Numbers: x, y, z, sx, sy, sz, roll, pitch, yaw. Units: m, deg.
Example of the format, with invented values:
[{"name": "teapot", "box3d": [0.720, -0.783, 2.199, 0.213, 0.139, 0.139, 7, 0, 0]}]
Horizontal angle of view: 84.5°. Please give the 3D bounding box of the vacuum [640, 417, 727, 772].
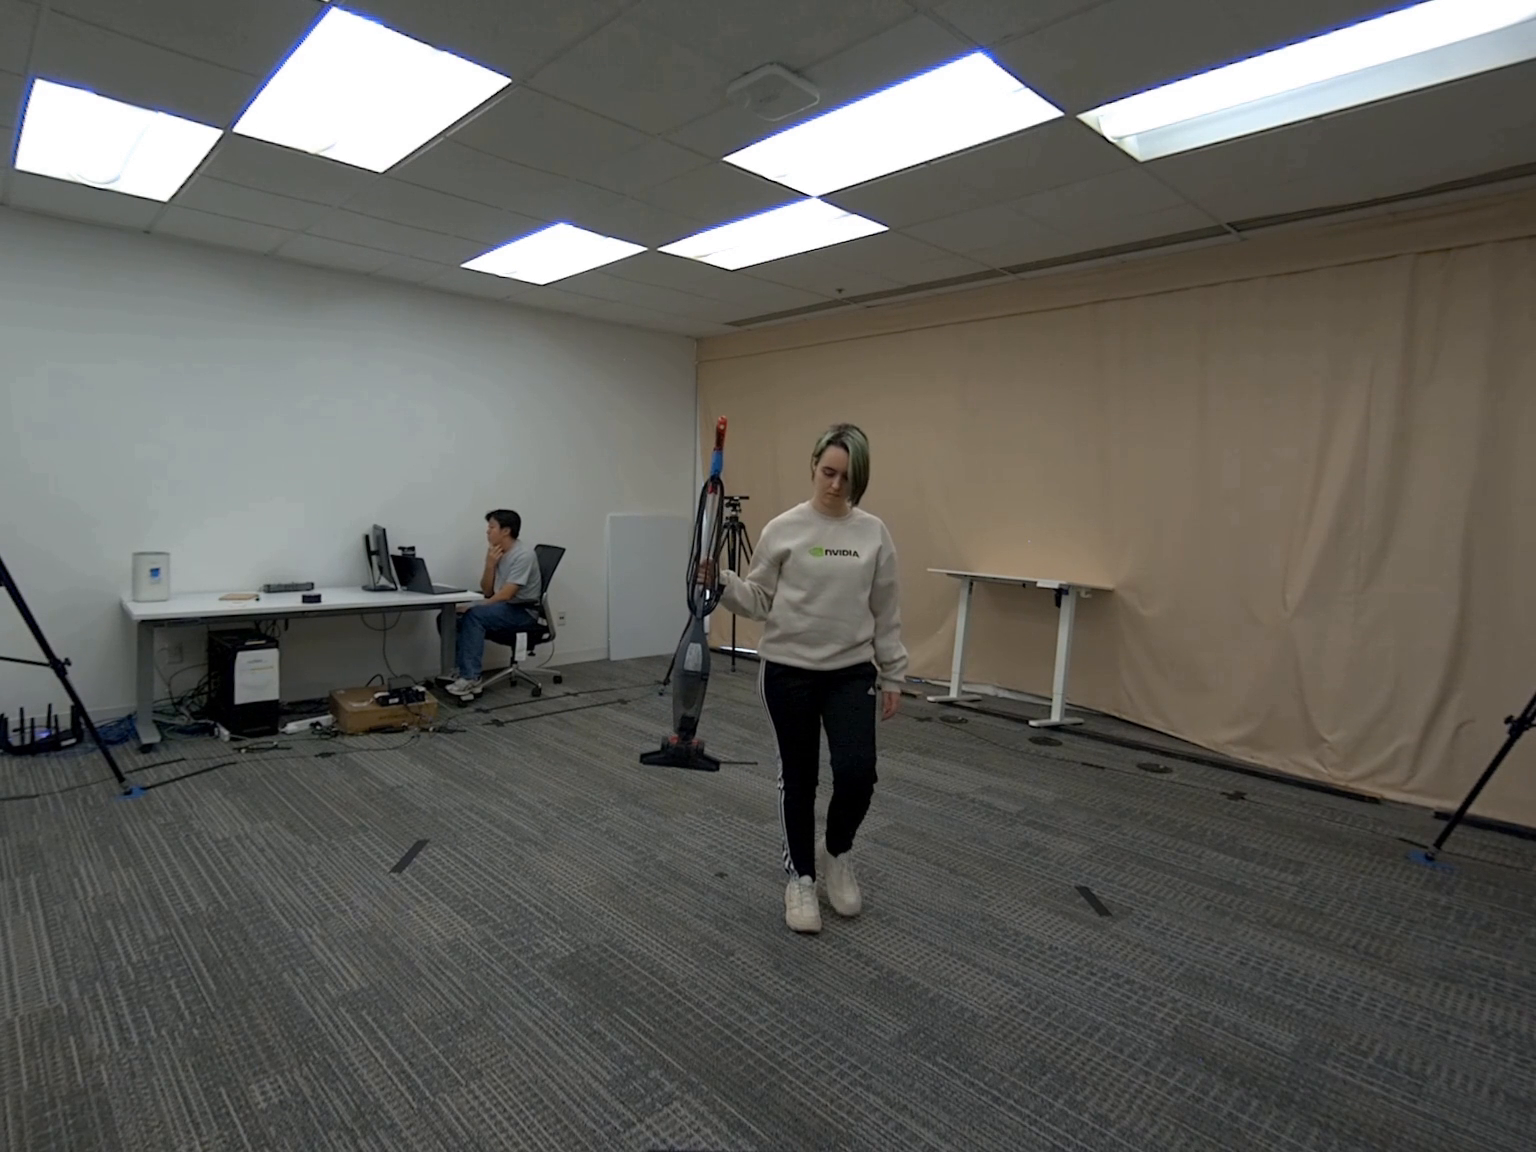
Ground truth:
[{"name": "vacuum", "box3d": [-0.210, 0.048, 2.602, 0.250, 1.048, 0.145, 7, 2, -9]}]
